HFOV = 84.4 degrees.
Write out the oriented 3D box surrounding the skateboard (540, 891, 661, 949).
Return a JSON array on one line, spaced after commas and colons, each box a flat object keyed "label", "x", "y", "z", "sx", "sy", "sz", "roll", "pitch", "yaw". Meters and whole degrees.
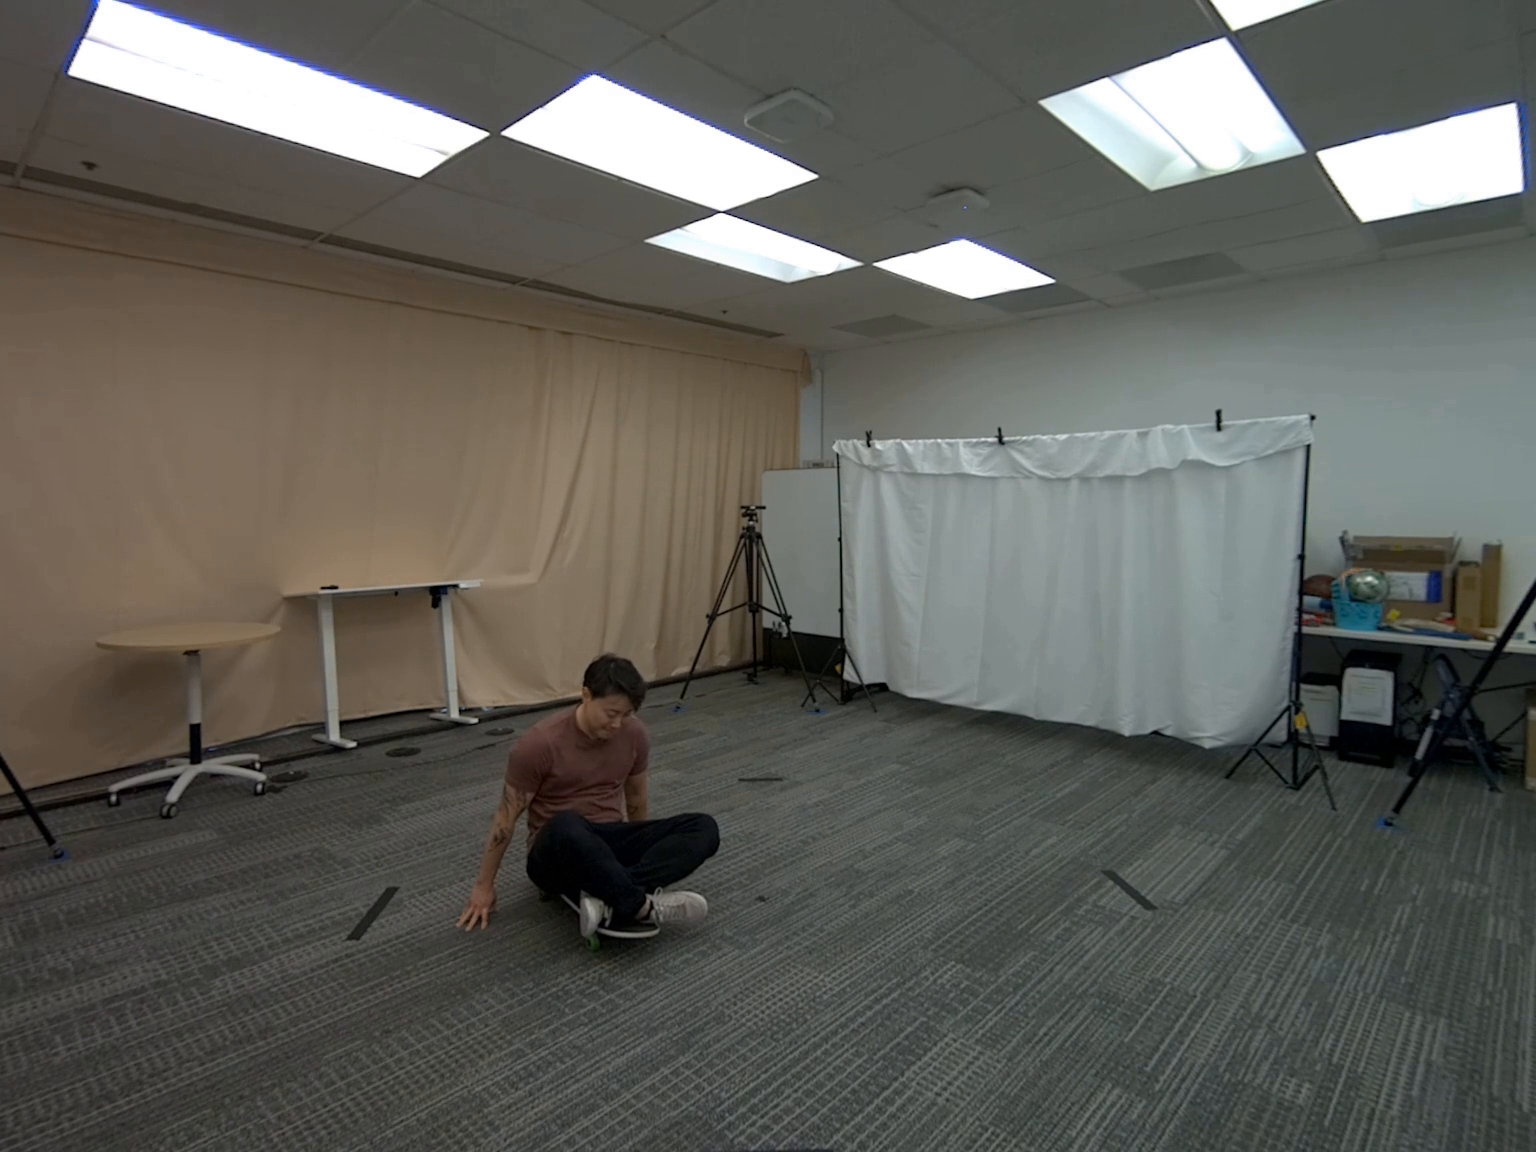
[{"label": "skateboard", "x": -0.604, "y": 1.112, "z": 2.861, "sx": 0.187, "sy": 0.110, "sz": 0.810, "roll": 8, "pitch": -2, "yaw": -37}]
